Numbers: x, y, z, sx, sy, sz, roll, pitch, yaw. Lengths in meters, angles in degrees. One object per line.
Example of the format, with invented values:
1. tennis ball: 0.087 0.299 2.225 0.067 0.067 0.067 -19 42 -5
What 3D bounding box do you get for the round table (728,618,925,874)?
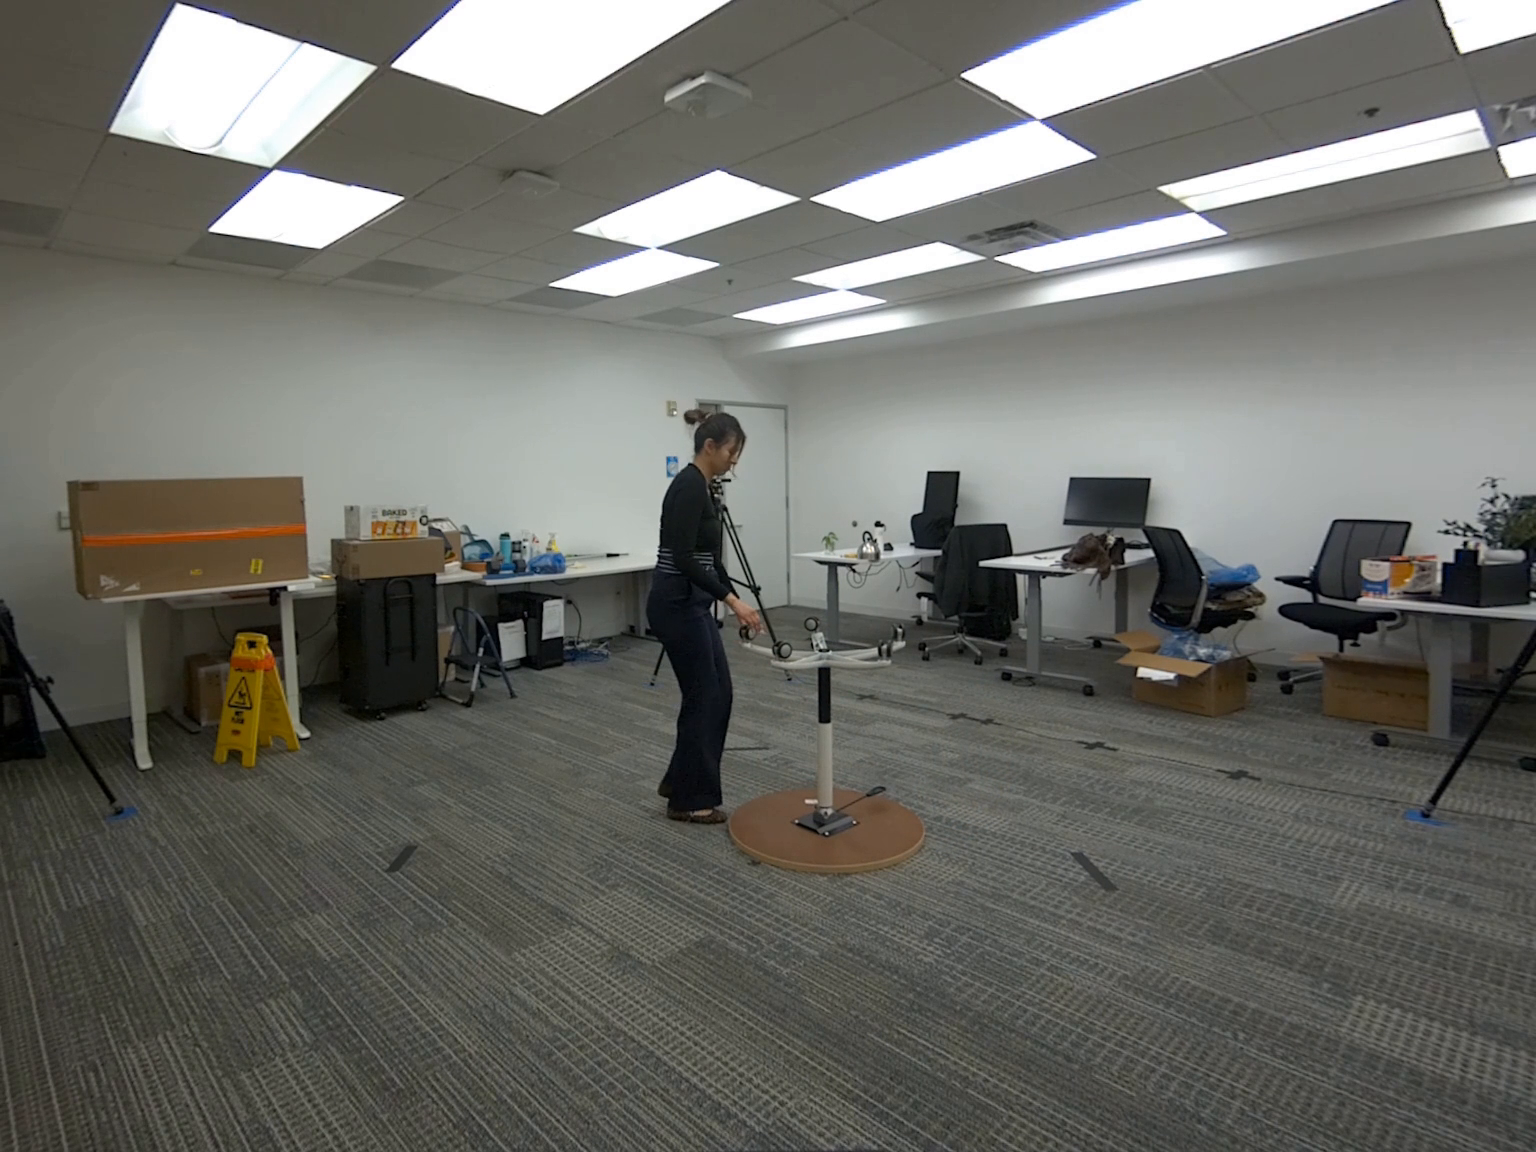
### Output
1. round table: 0.225 0.618 3.364 0.763 0.791 0.767 -1 4 -2
